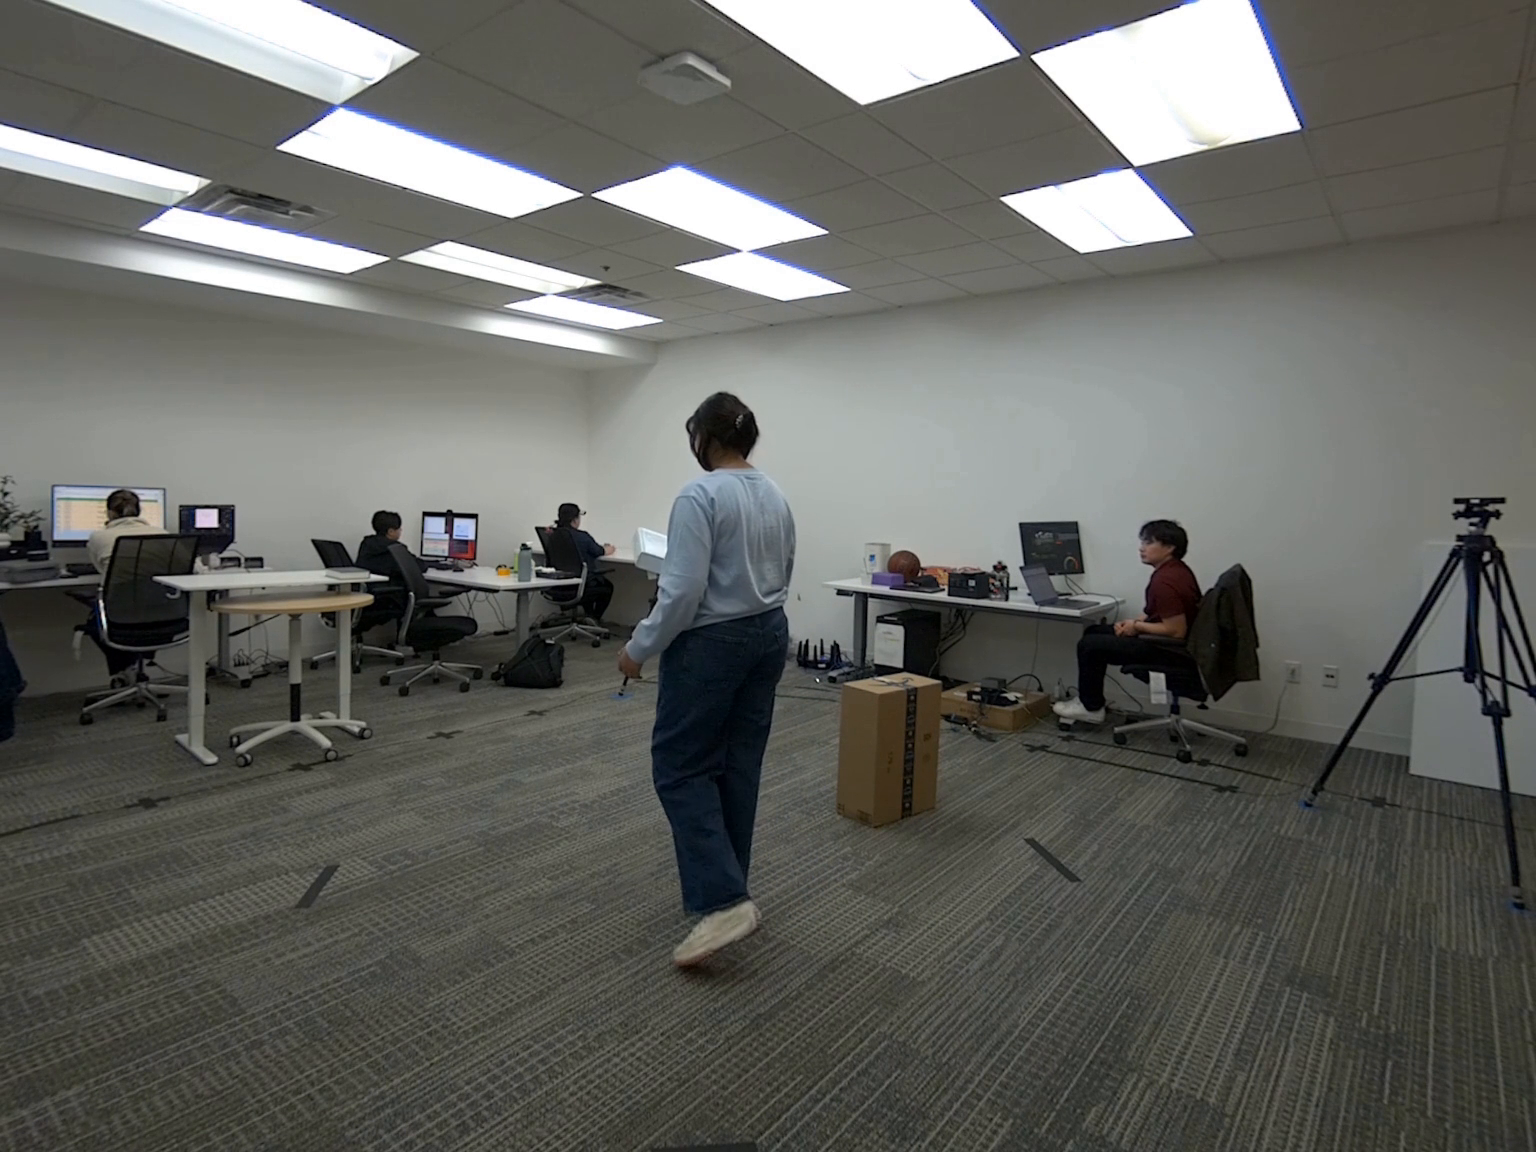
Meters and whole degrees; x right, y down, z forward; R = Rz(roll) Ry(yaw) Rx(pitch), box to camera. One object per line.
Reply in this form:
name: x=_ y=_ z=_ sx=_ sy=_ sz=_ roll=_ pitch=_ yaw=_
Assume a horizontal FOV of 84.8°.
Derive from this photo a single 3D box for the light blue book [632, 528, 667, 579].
light blue book: x=-0.358 y=-0.076 z=2.907 sx=0.187 sy=0.058 sz=0.268 roll=17 pitch=15 yaw=-18
